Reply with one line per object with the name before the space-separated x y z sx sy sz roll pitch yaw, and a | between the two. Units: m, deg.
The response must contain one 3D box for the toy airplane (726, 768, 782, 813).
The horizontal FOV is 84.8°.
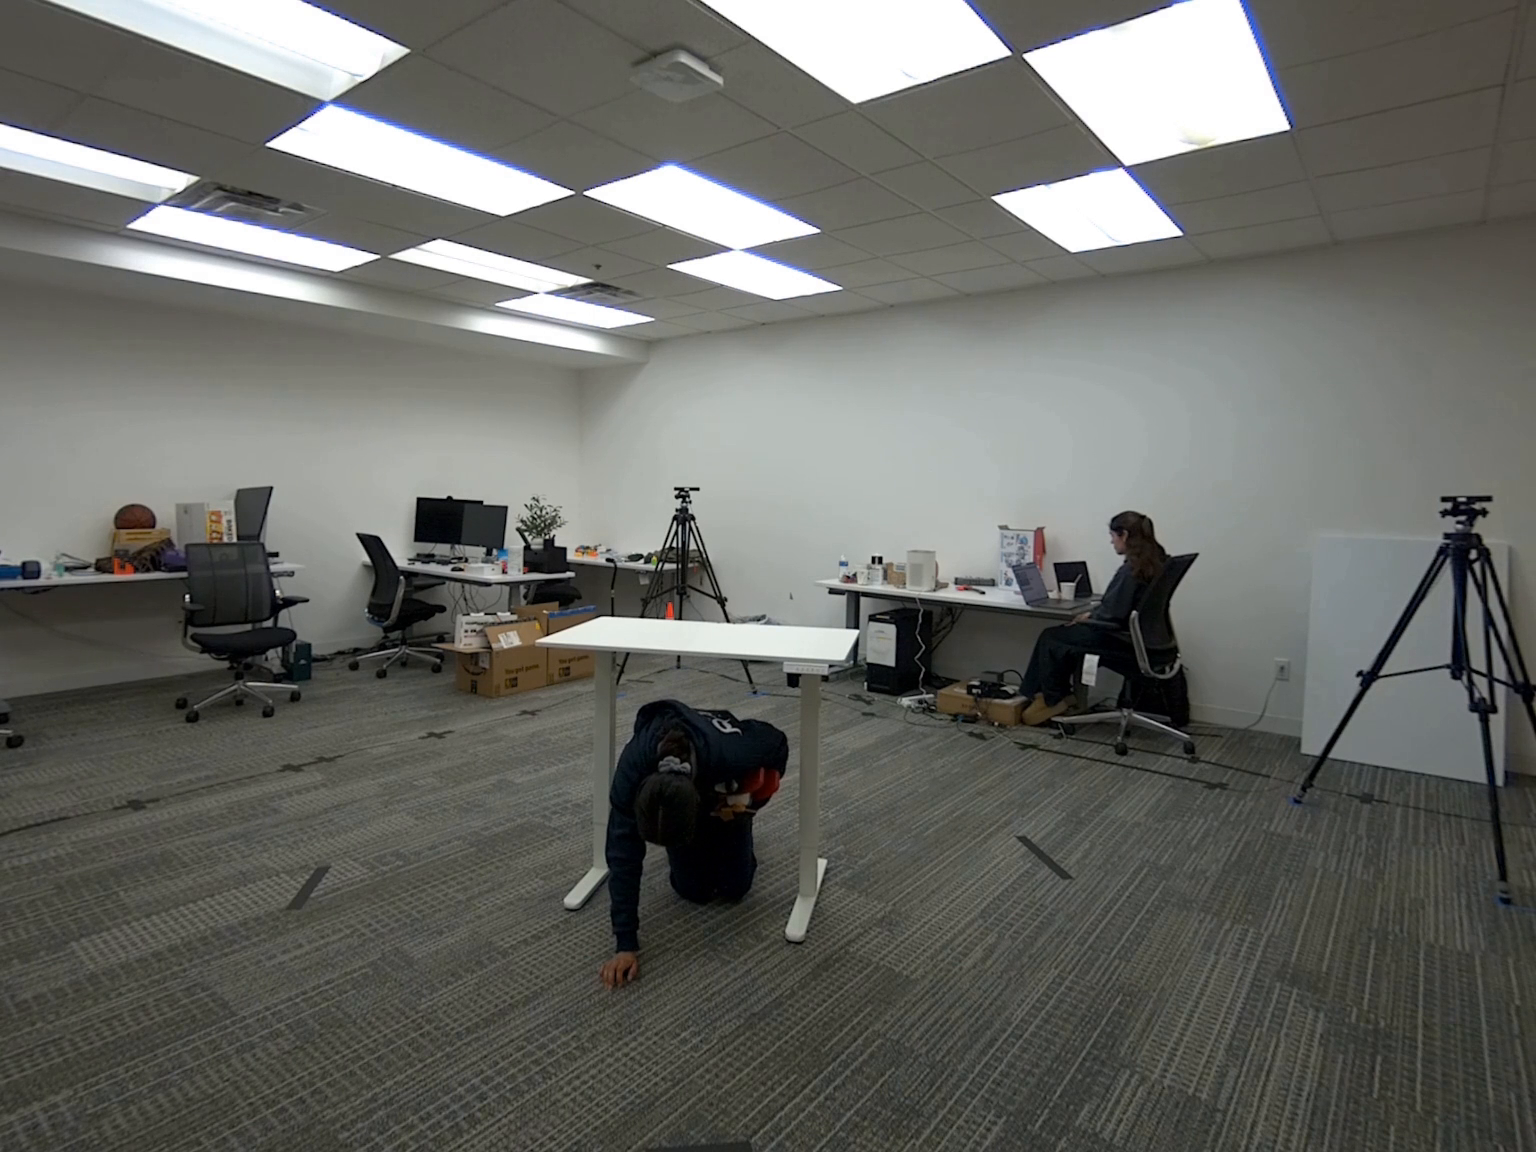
toy airplane | -0.095 0.629 2.712 0.151 0.260 0.259 40 -19 -31
